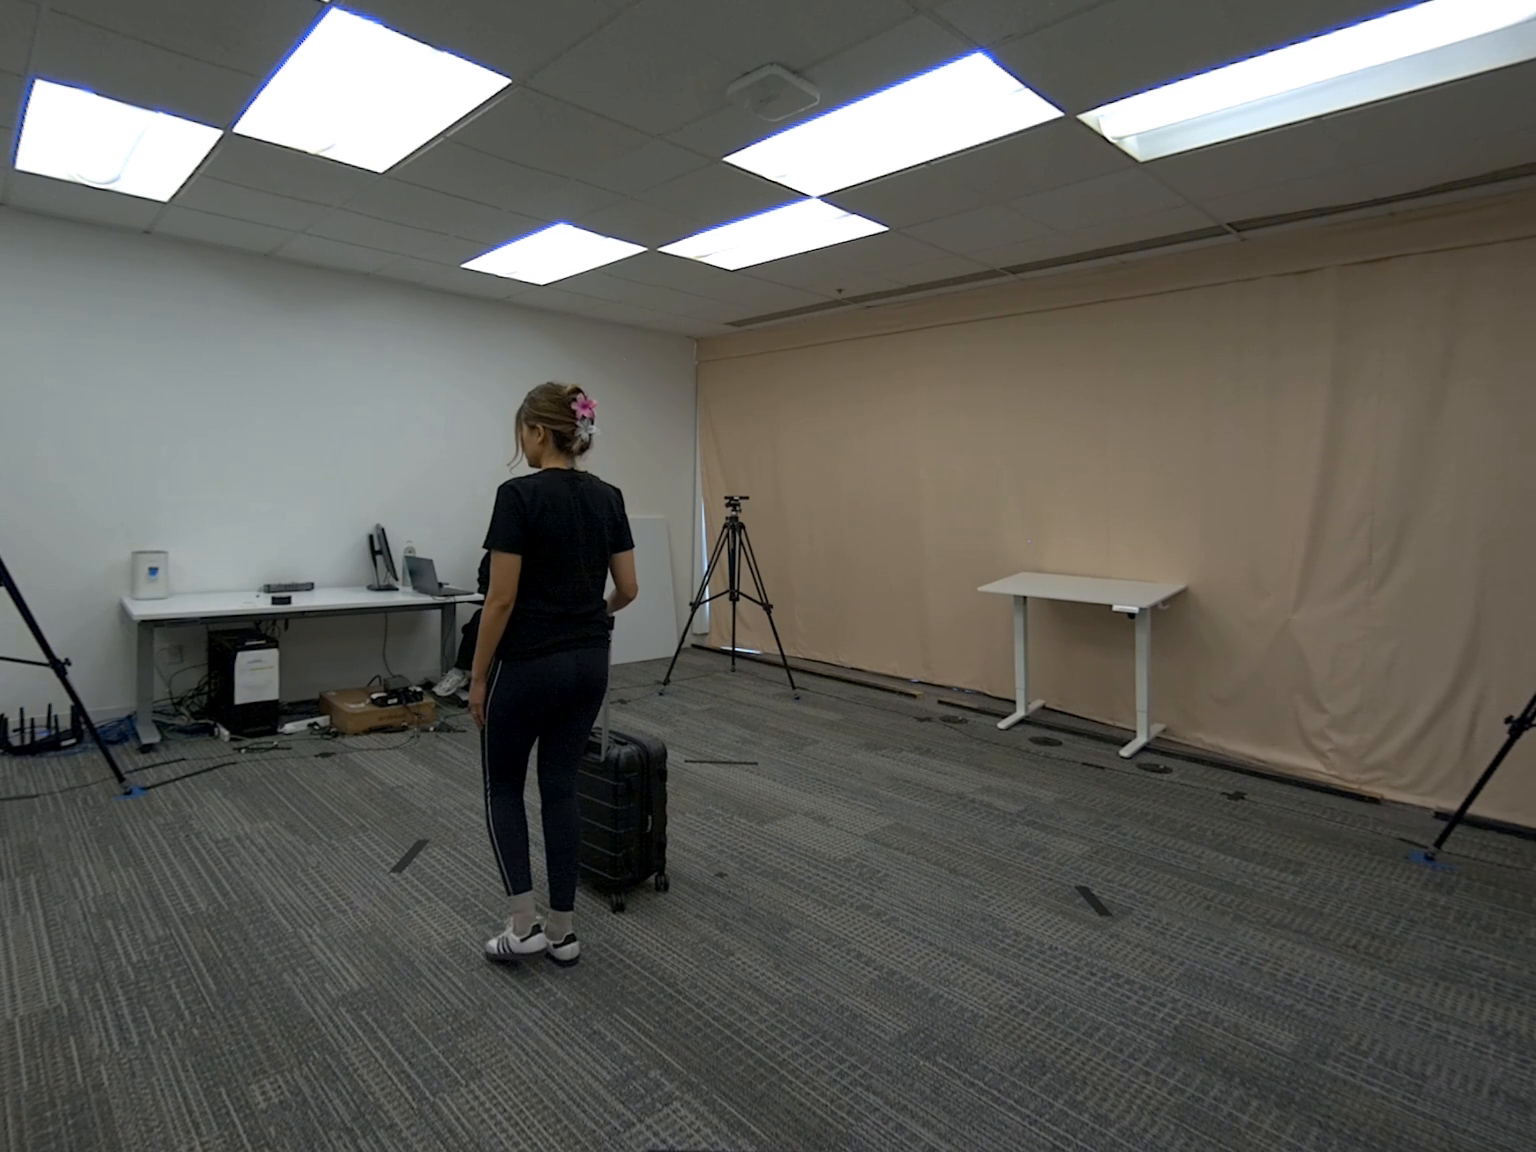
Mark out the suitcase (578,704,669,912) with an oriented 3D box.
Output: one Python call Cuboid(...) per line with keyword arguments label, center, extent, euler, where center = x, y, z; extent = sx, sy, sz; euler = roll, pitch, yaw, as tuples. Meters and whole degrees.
Cuboid(label="suitcase", center=(-0.549, 0.629, 2.997), extent=(0.393, 0.978, 0.251), euler=(2, 0, 42))
